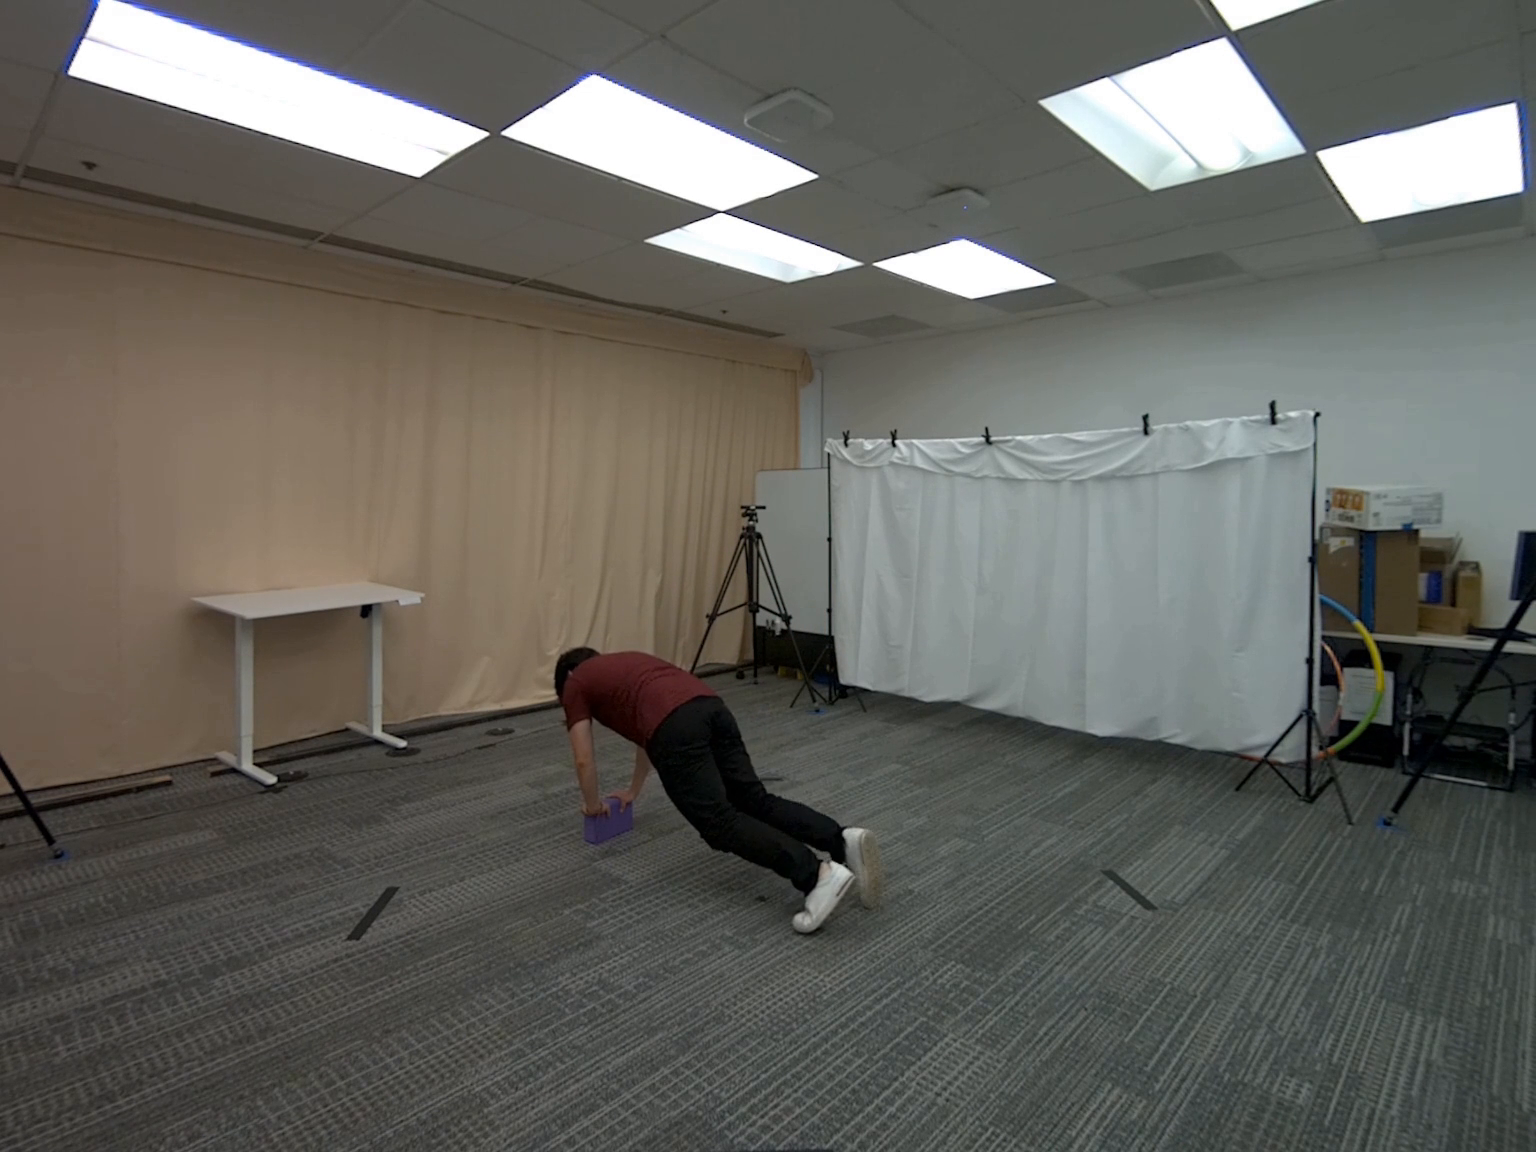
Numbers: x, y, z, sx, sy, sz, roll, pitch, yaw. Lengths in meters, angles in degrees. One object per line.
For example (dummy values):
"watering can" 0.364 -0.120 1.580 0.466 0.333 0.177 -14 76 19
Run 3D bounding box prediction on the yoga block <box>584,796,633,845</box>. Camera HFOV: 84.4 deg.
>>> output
"yoga block" -0.680 1.029 3.578 0.079 0.149 0.223 -1 4 36
